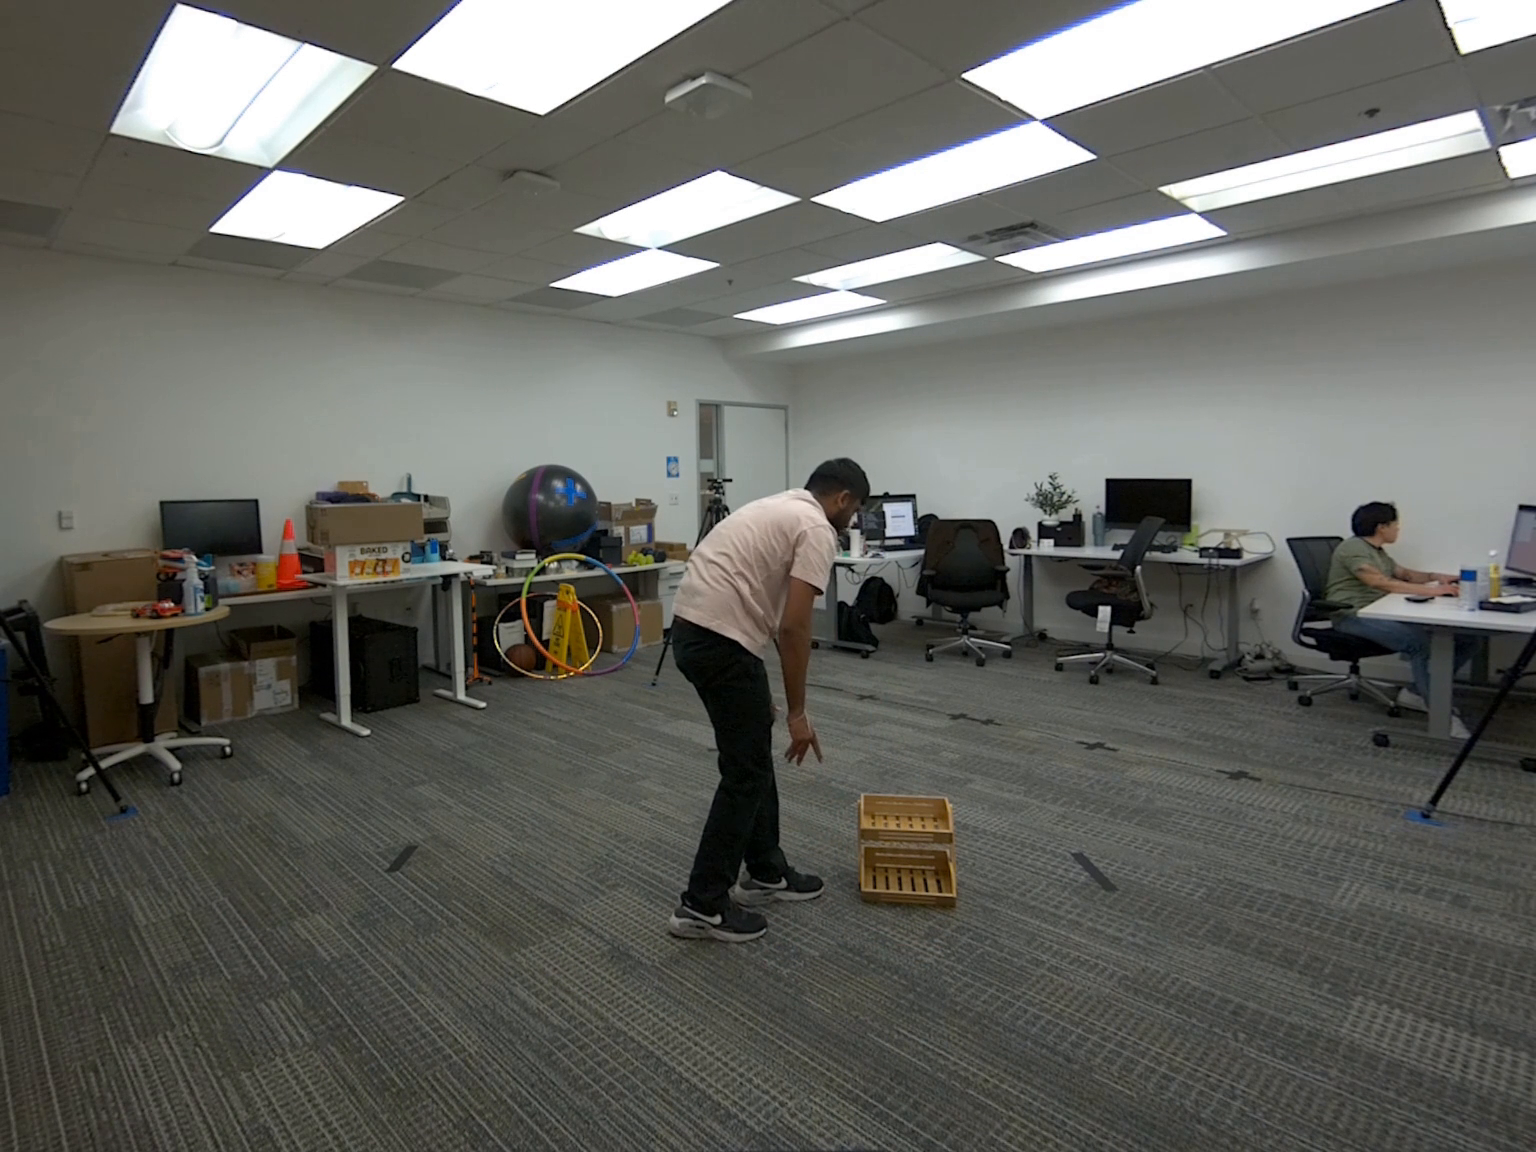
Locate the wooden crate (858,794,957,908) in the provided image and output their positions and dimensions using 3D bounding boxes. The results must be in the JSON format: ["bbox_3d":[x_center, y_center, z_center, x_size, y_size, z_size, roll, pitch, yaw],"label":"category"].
[{"bbox_3d":[0.473,0.923,2.906,0.327,0.272,0.301,-1,5,7],"label":"wooden crate"}]
